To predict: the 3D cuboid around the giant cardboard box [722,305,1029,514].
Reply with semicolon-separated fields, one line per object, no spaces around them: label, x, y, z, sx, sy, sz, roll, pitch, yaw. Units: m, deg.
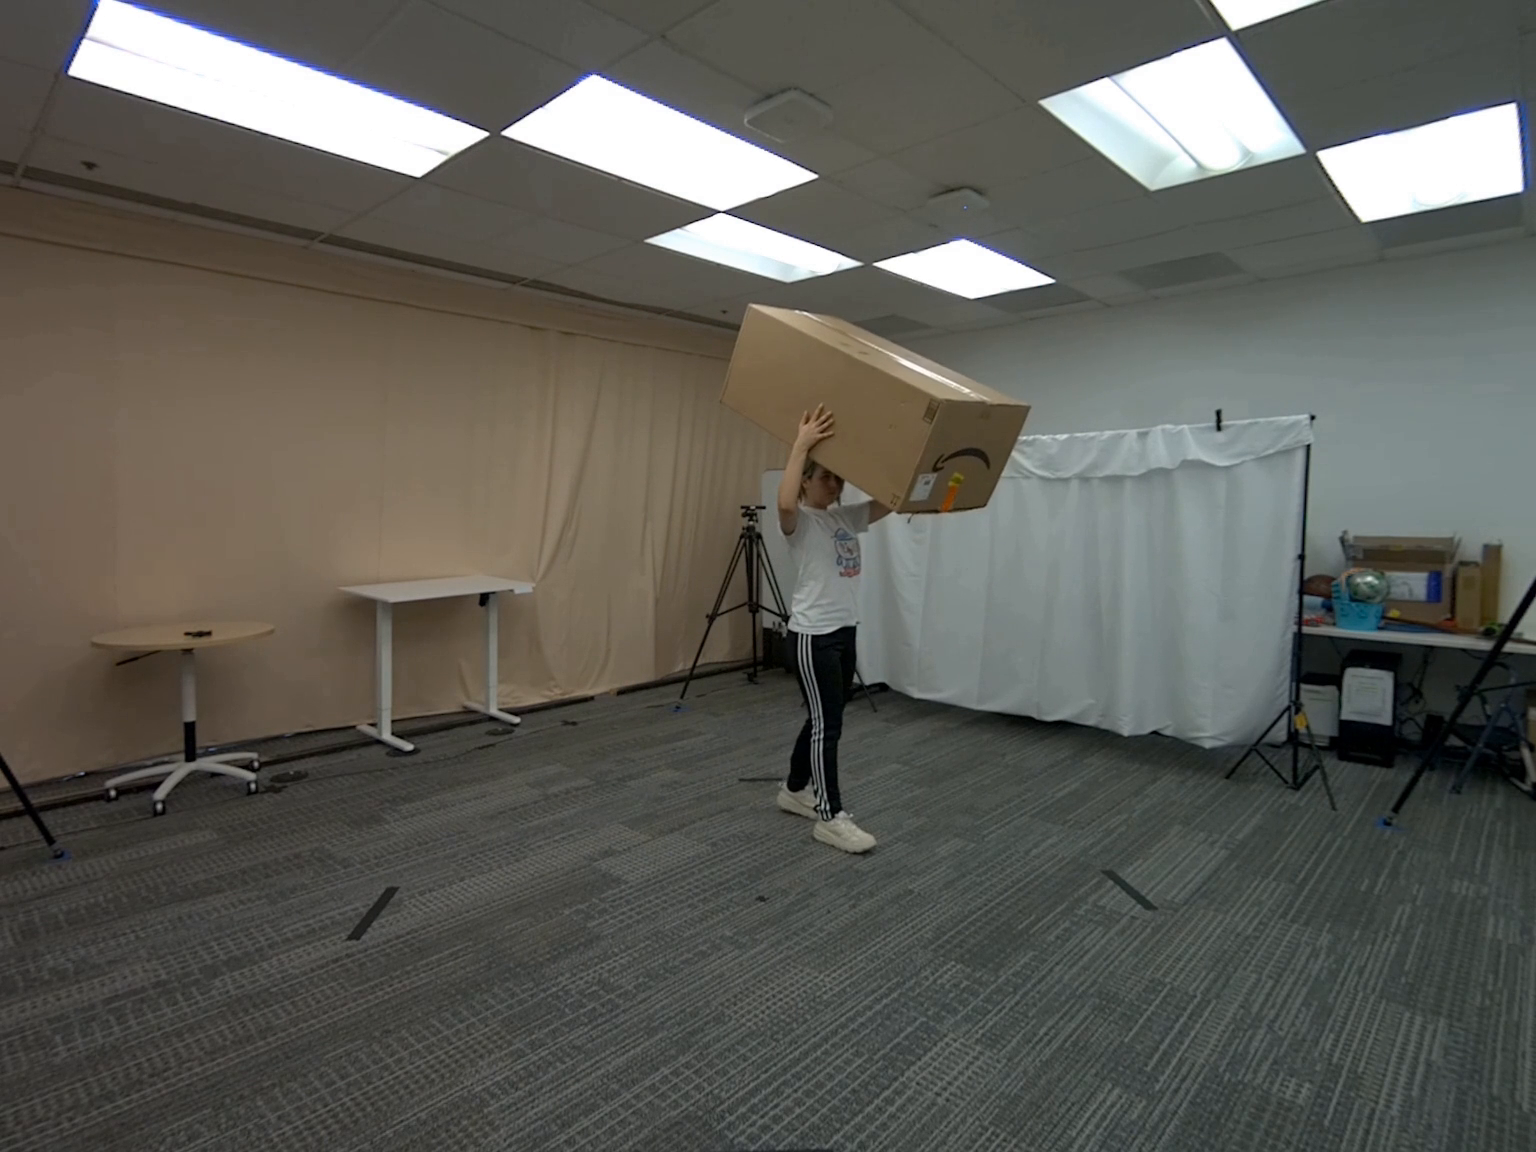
giant cardboard box;0.388;-0.670;3.338;0.566;0.444;1.064;-5;34;-43
